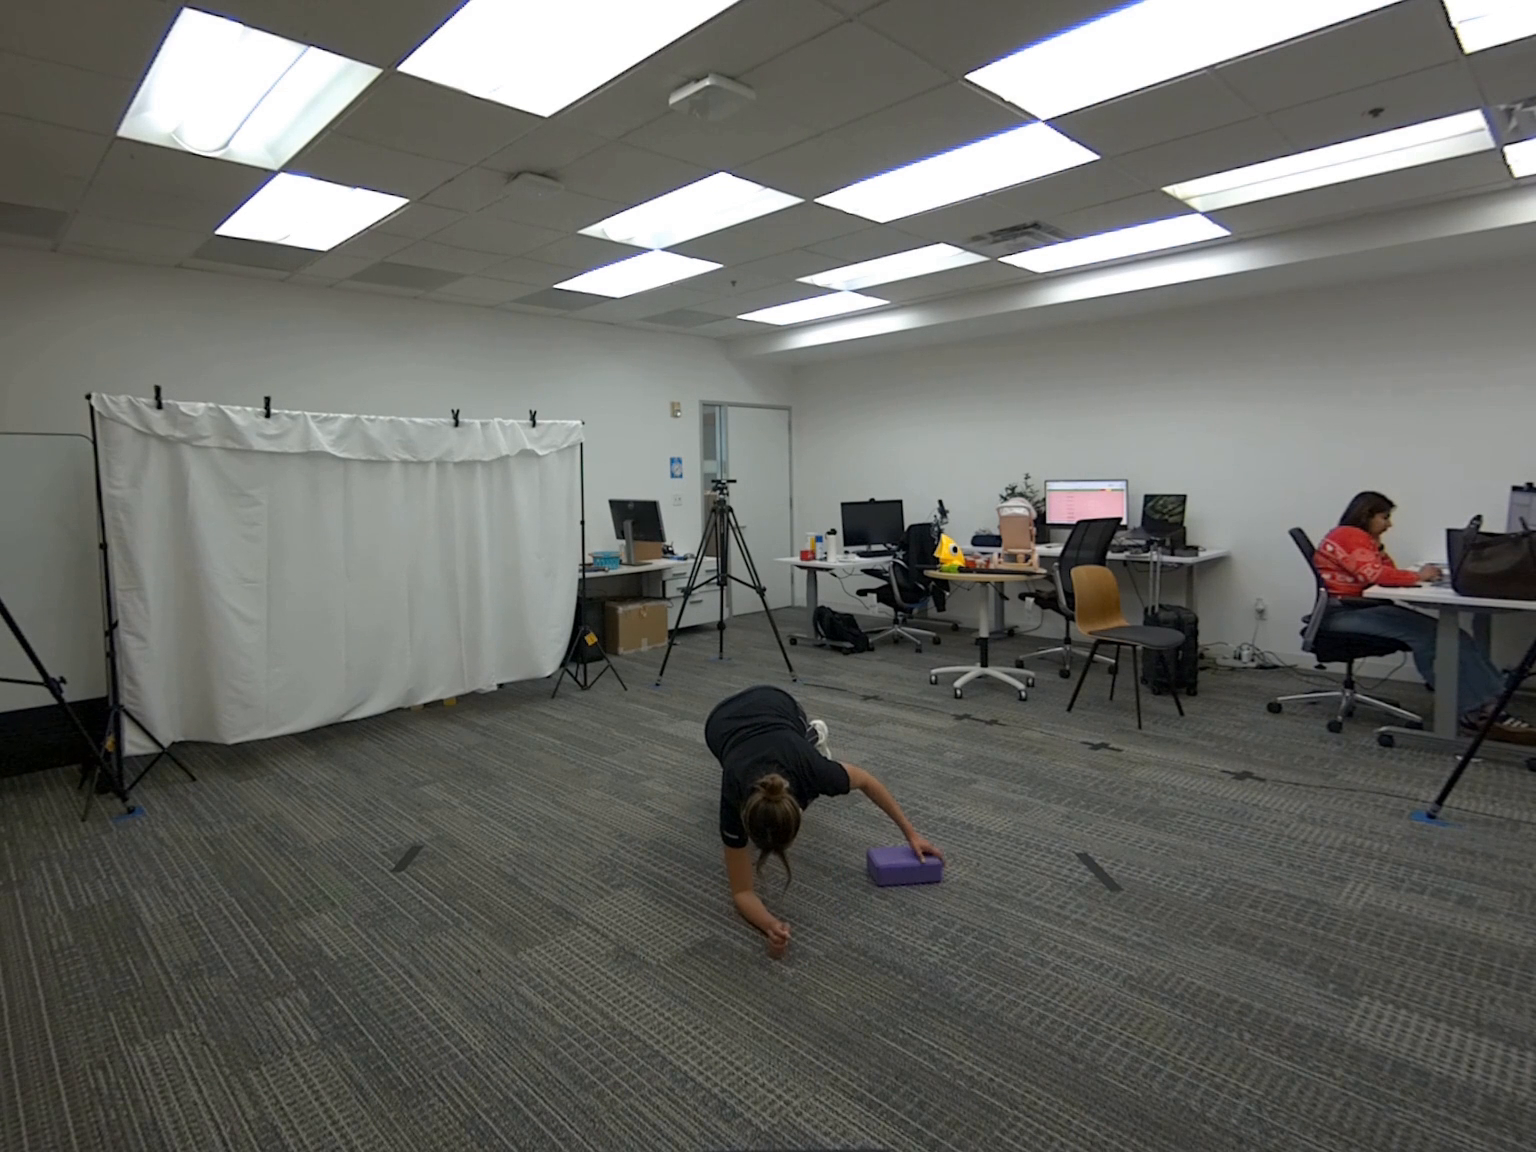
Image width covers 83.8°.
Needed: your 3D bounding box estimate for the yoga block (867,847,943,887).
[{"bbox_3d":[0.474,1.009,2.986,0.228,0.076,0.150,-3,5,-7],"label":"yoga block"}]
